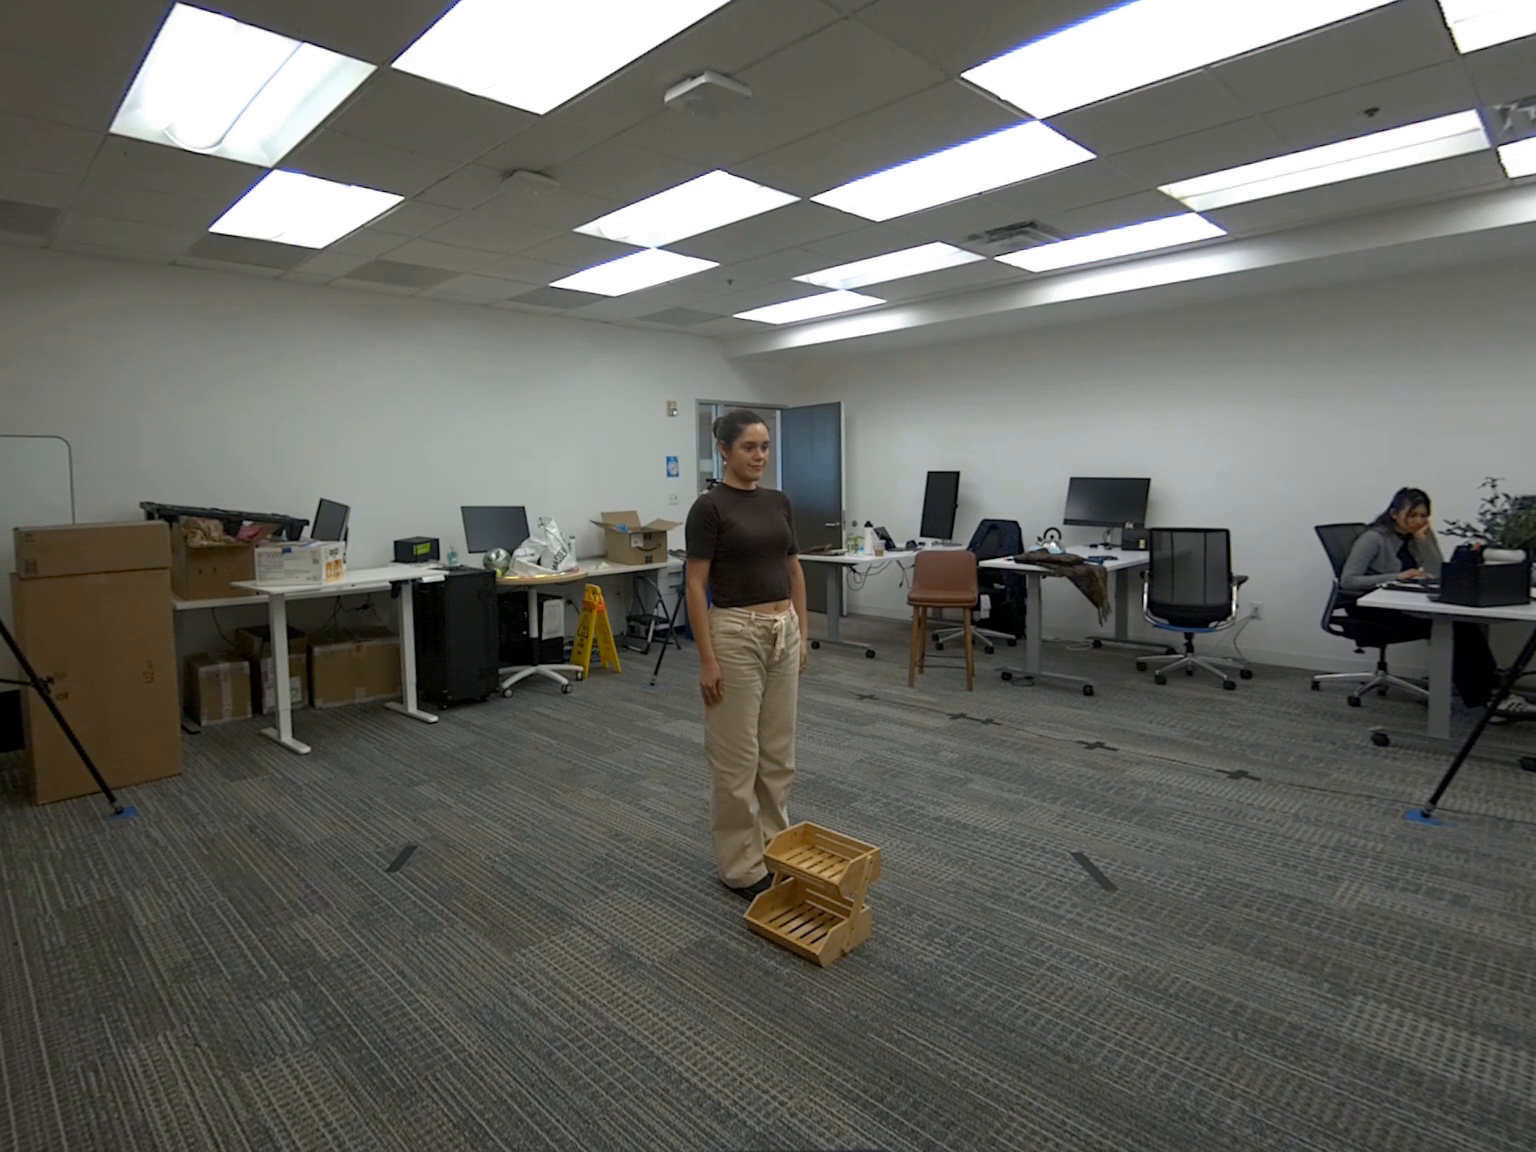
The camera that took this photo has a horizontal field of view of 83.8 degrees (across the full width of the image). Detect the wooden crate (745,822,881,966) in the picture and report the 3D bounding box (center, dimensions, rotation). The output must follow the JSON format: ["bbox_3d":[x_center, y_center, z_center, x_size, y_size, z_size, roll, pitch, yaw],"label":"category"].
[{"bbox_3d":[0.138,0.961,2.627,0.334,0.272,0.294,4,6,44],"label":"wooden crate"}]
